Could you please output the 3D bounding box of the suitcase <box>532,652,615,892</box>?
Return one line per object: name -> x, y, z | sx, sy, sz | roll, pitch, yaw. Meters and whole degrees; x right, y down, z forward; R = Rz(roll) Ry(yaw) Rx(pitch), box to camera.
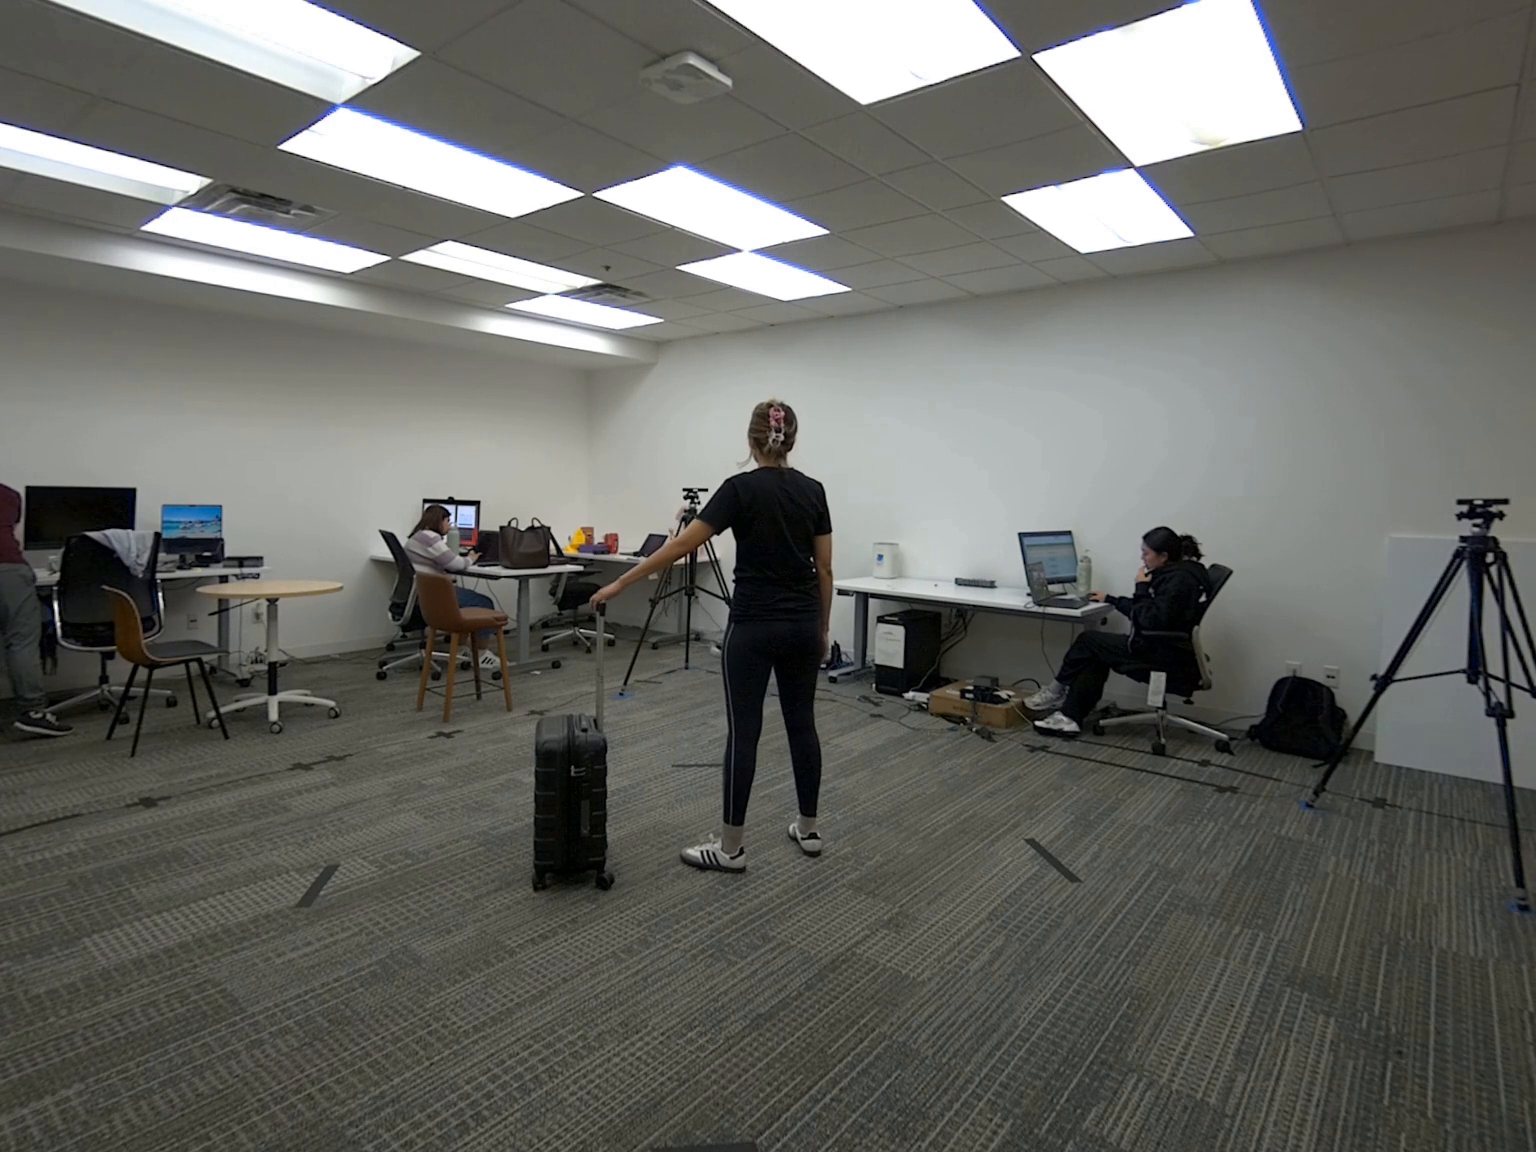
suitcase -> -0.723, 0.589, 3.062 | 0.255, 0.976, 0.388 | -2, 3, -8
